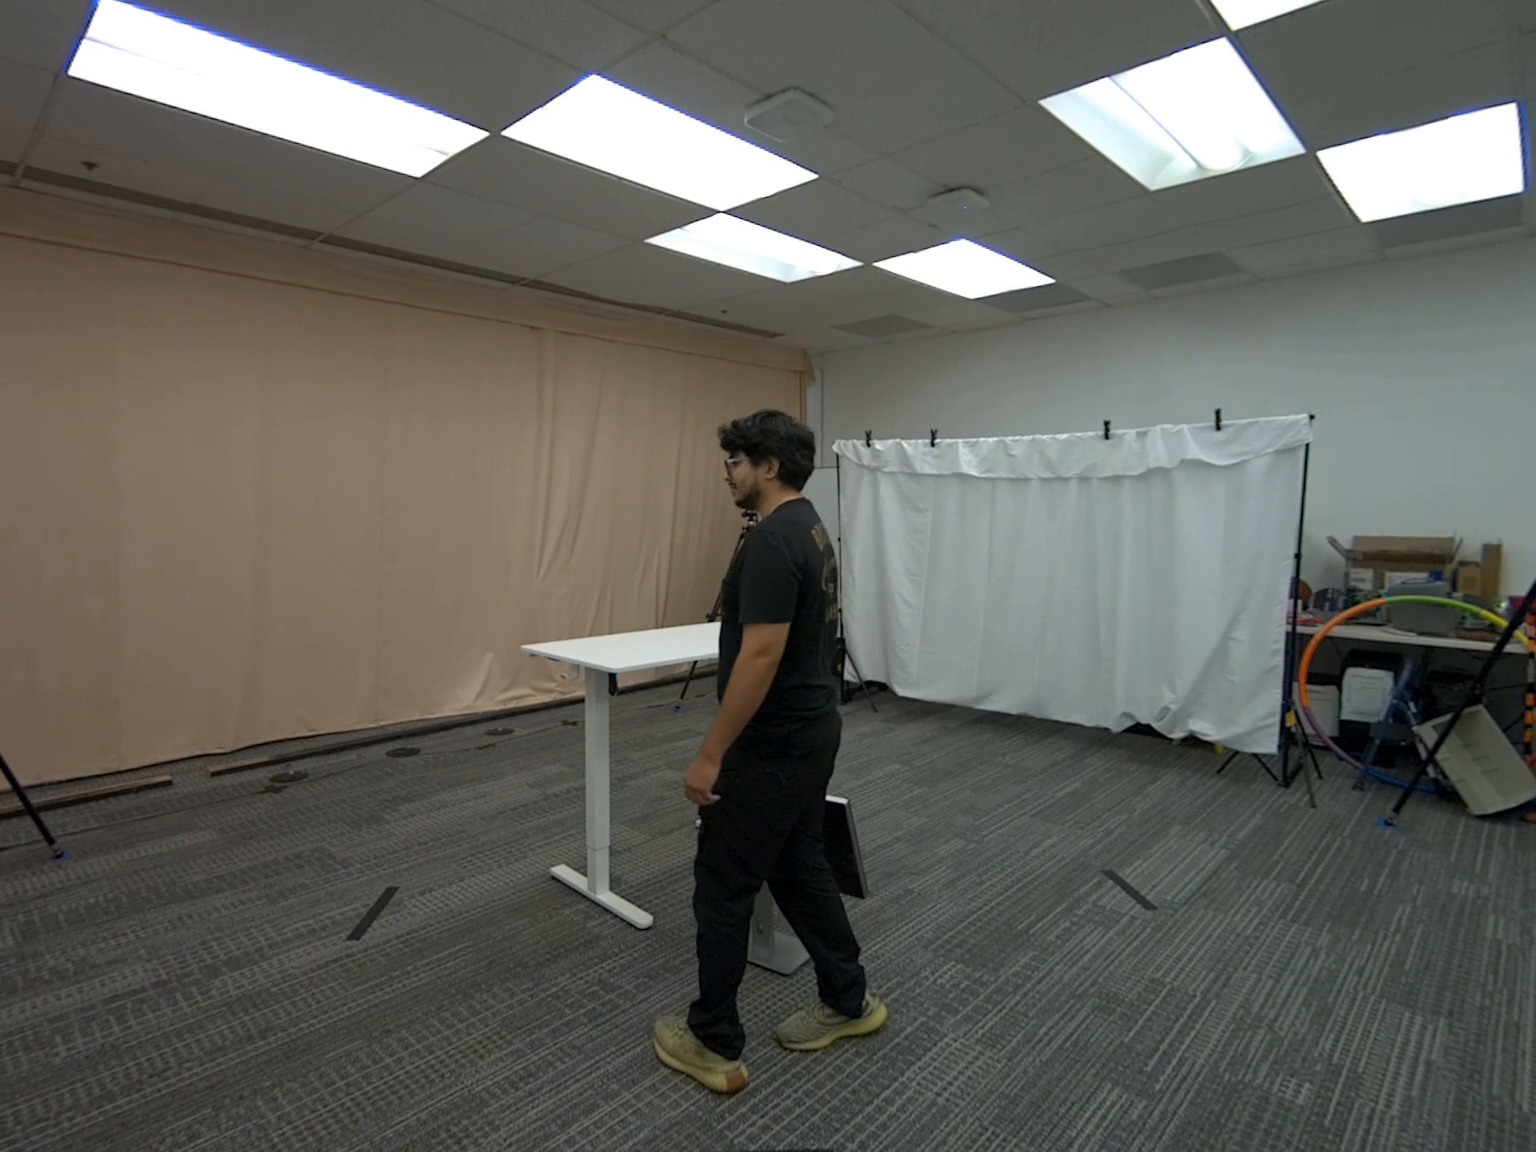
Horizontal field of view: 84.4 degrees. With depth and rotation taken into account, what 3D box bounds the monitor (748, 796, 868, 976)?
[{"bbox_3d":[-0.002,0.910,2.591,0.582,0.549,0.205,2,14,33],"label":"monitor"}]
